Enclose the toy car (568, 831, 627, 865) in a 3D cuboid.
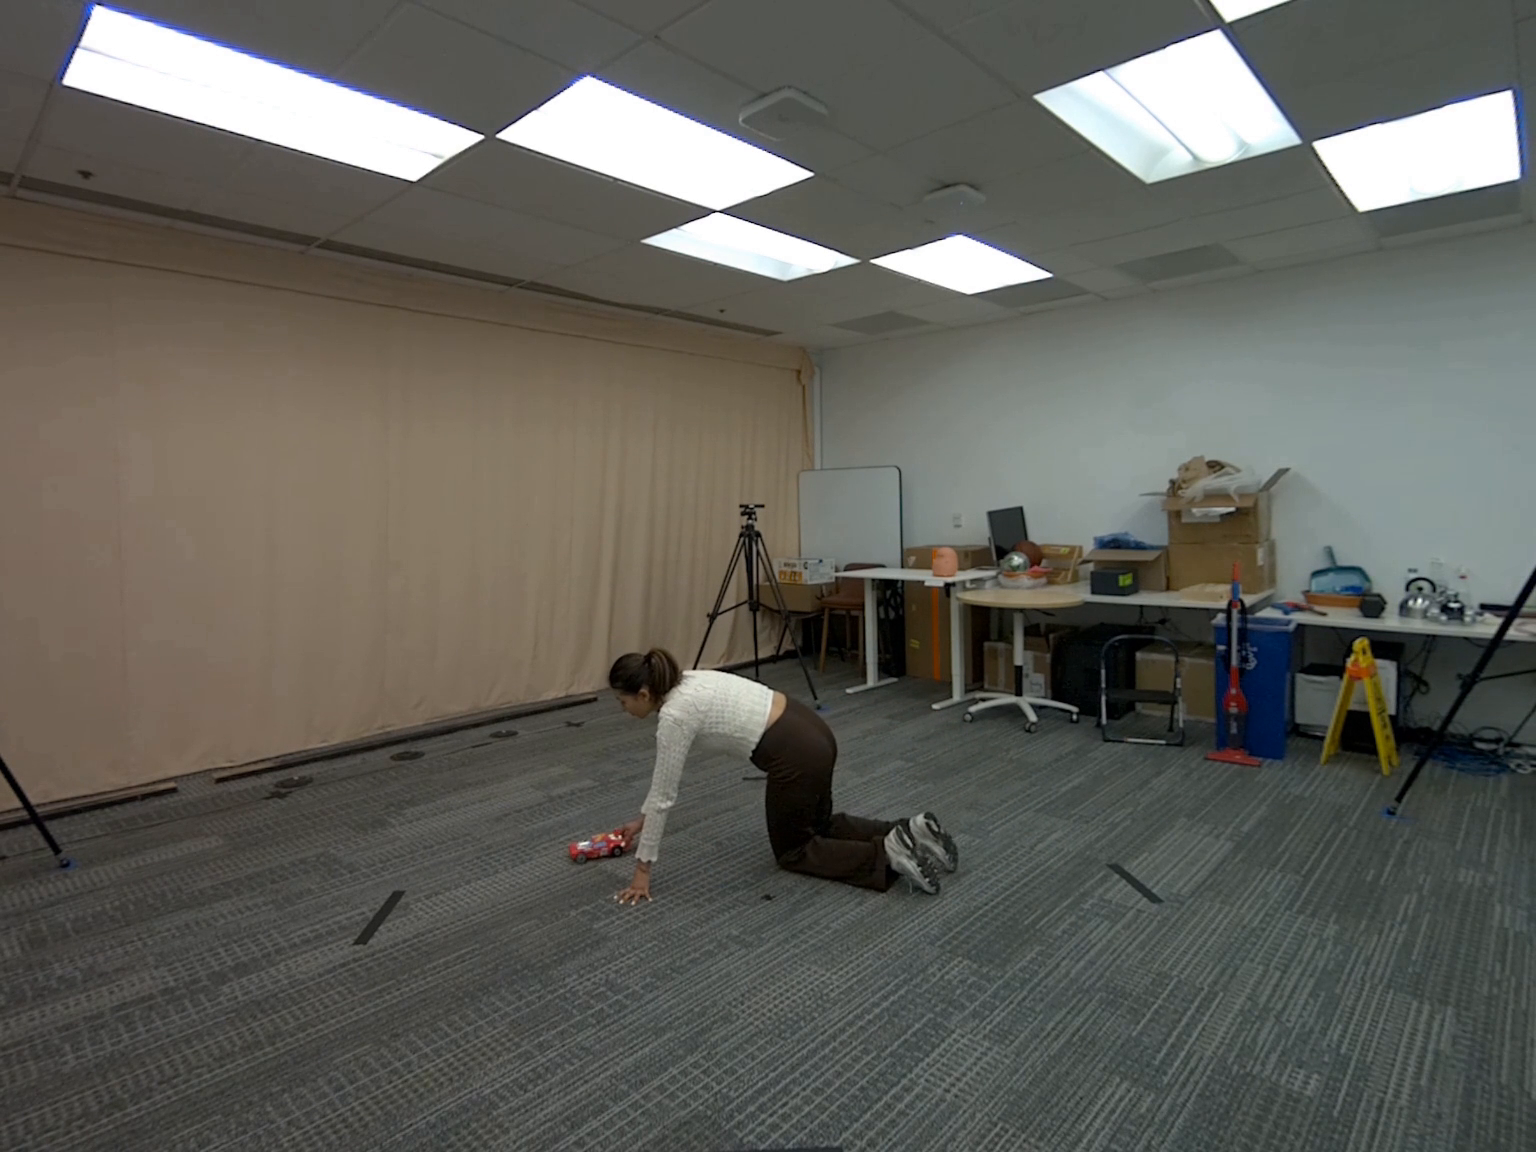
[{"bbox_3d":[-0.674,1.093,3.394,0.250,0.083,0.133,-14,7,-19],"label":"toy car"}]
